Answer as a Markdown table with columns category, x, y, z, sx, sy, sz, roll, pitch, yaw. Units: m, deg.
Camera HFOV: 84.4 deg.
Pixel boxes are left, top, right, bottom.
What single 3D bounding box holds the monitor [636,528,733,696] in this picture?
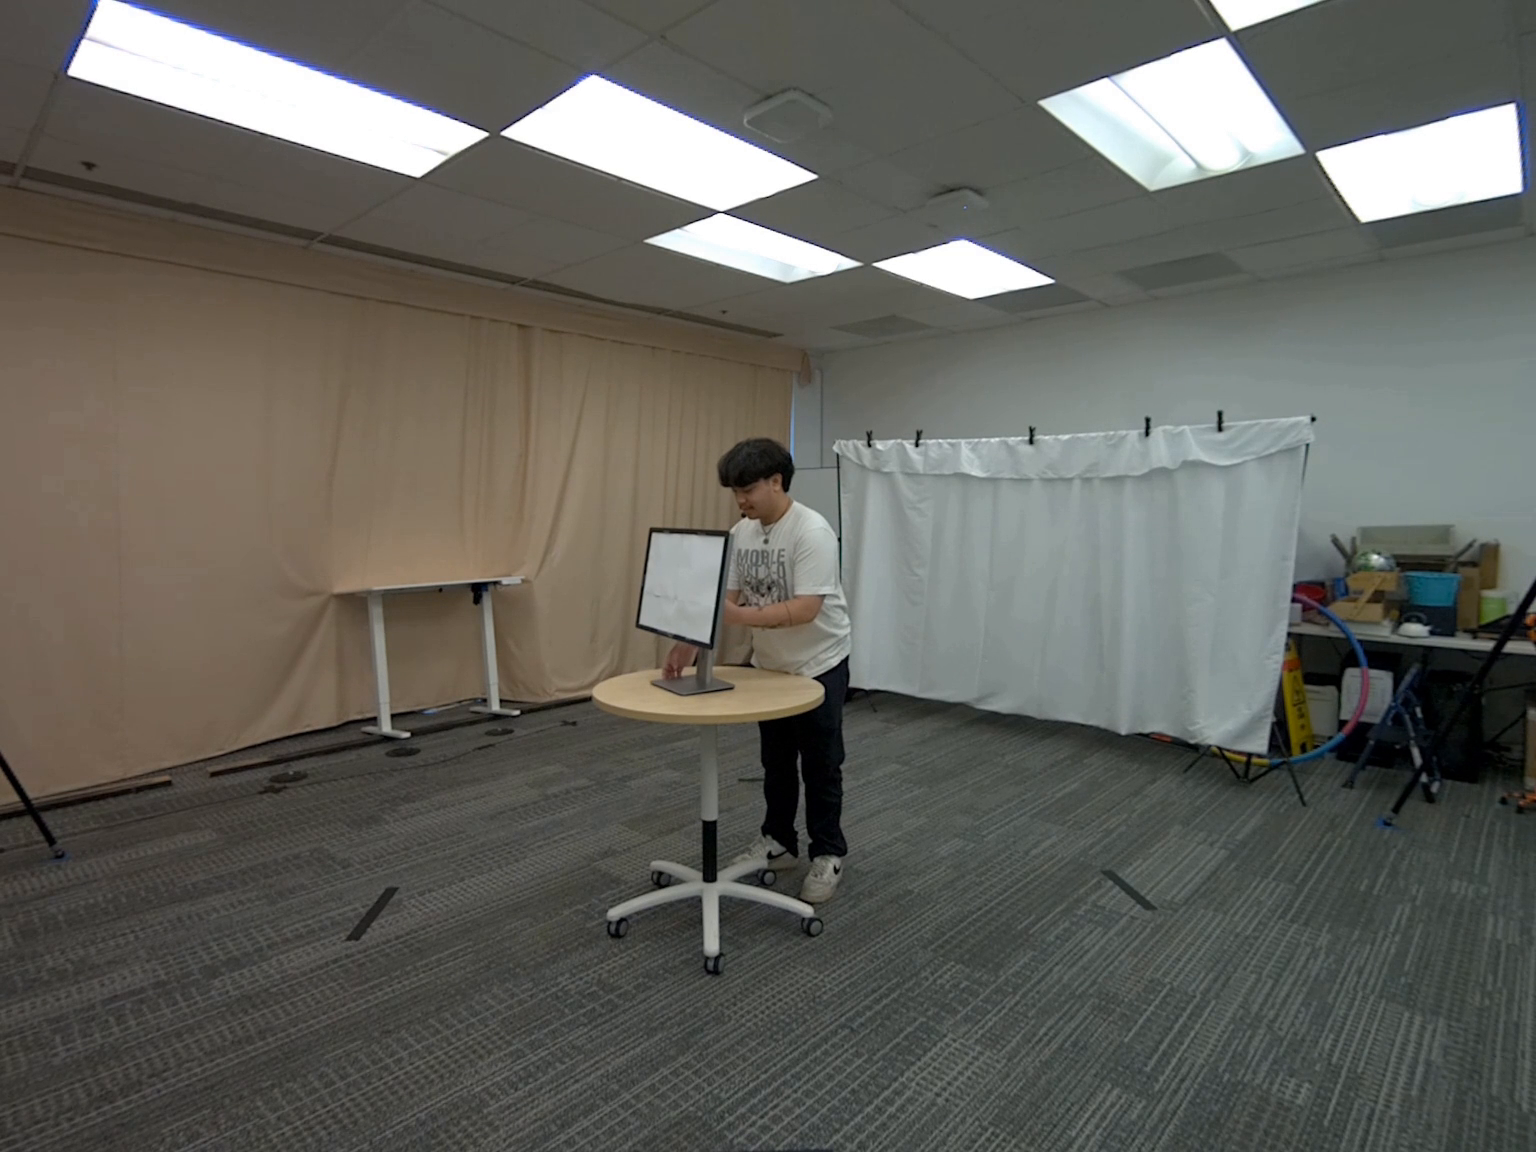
| category | x | y | z | sx | sy | sz | roll | pitch | yaw |
| --- | --- | --- | --- | --- | --- | --- | --- | --- | --- |
| monitor | -0.229 | 0.116 | 2.813 | 0.204 | 0.553 | 0.582 | 2 | 2 | -33 |
